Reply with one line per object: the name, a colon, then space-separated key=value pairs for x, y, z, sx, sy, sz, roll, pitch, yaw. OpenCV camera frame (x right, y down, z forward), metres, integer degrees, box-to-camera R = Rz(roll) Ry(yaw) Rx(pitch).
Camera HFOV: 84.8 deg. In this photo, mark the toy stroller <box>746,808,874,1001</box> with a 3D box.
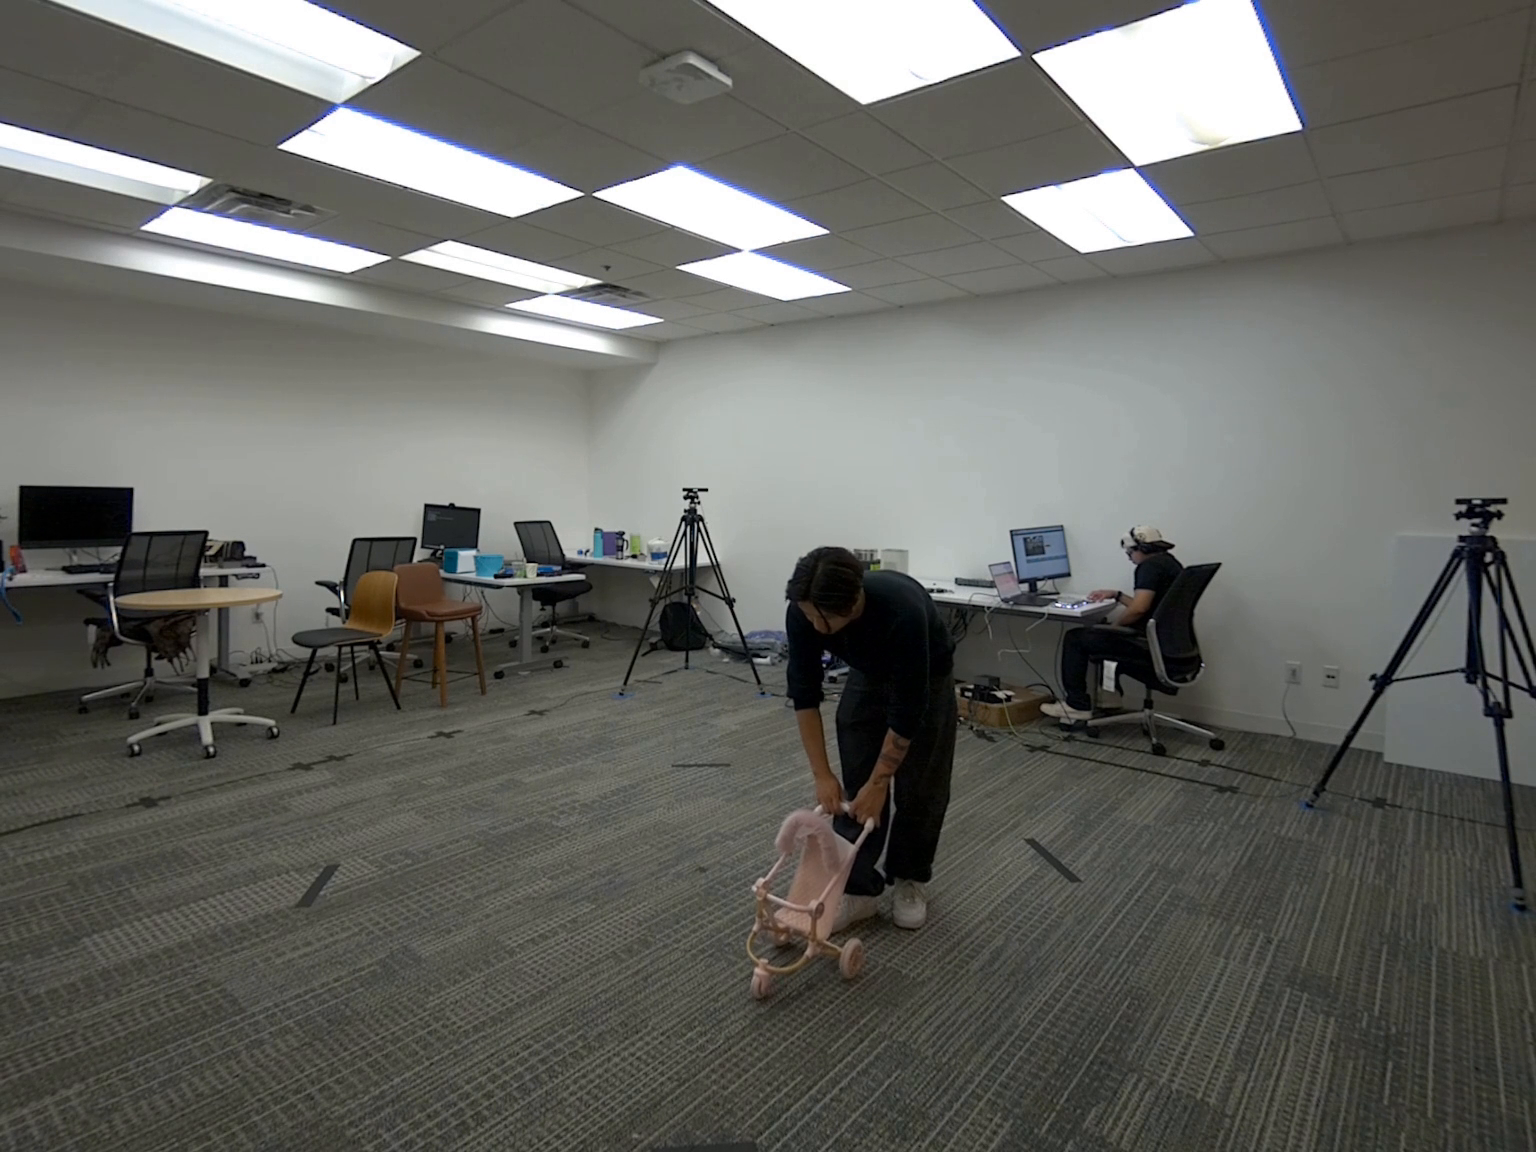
toy stroller: x=0.099 y=0.918 z=2.461 sx=0.291 sy=0.538 sz=0.328 roll=4 pitch=-12 yaw=44
